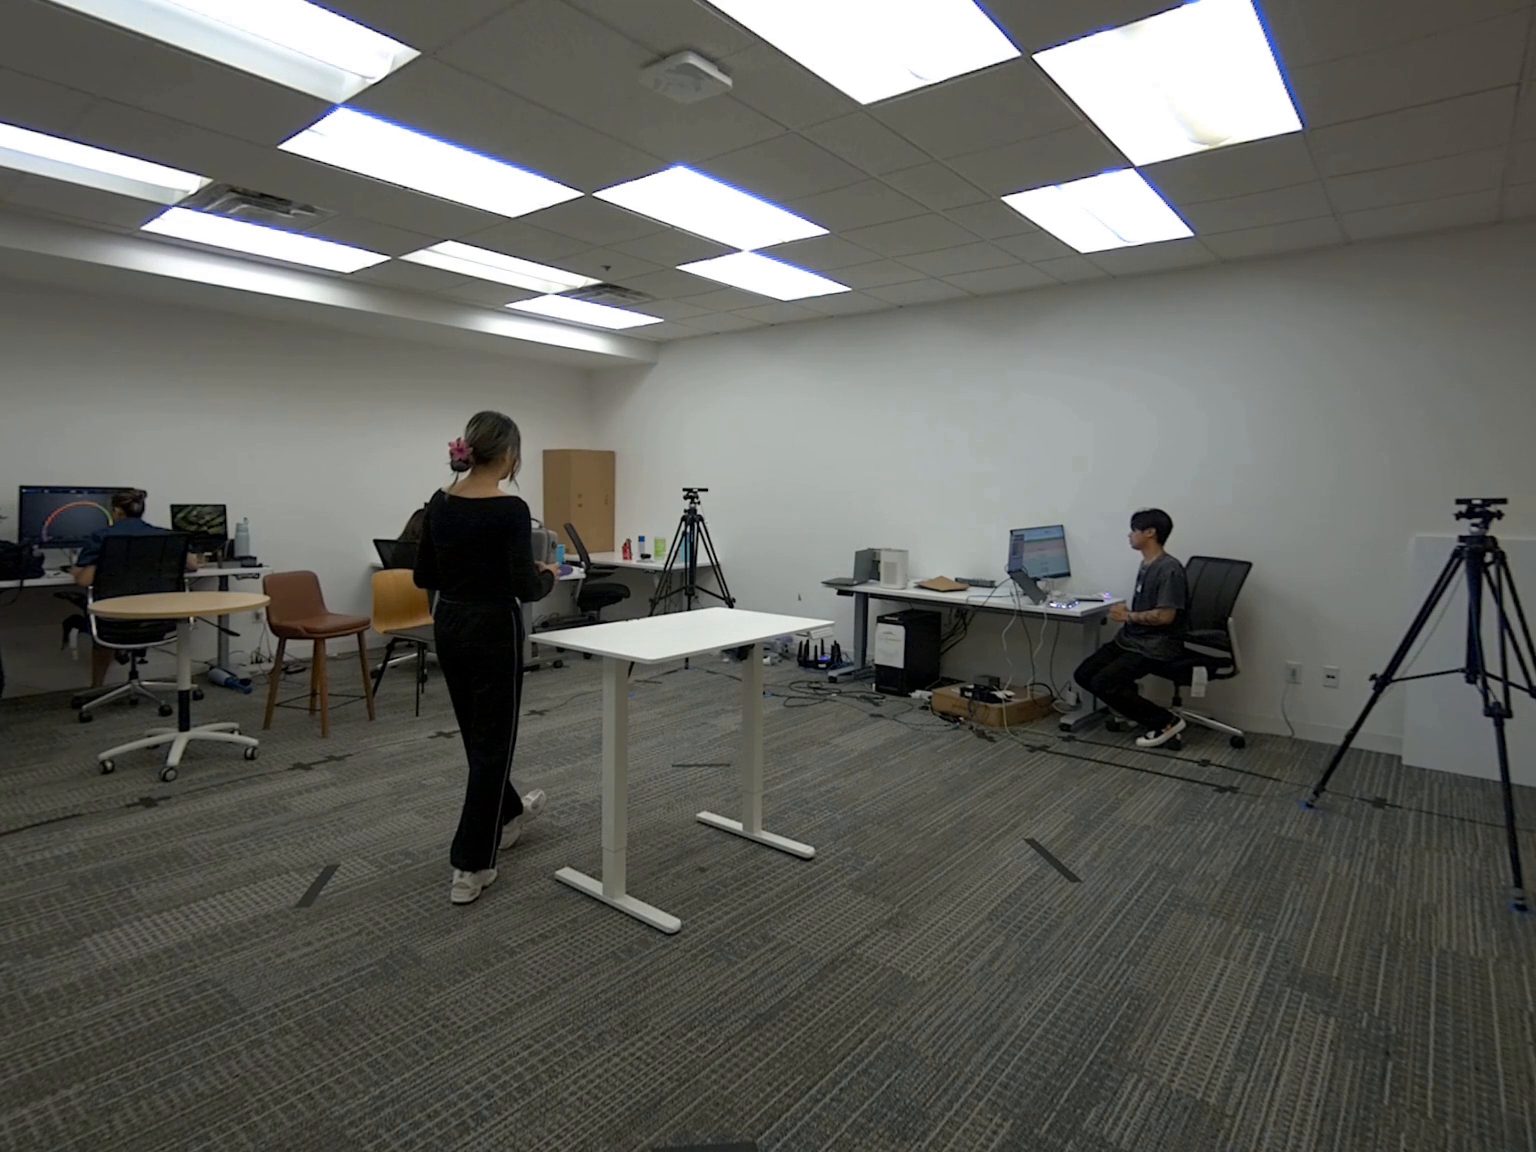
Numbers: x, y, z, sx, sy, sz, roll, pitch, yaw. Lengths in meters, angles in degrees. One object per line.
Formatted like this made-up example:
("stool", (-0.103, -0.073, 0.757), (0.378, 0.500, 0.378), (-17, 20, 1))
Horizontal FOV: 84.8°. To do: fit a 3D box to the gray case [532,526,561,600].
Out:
("gray case", (-0.929, -0.056, 3.165), (0.264, 0.261, 0.101), (3, -3, 28))
